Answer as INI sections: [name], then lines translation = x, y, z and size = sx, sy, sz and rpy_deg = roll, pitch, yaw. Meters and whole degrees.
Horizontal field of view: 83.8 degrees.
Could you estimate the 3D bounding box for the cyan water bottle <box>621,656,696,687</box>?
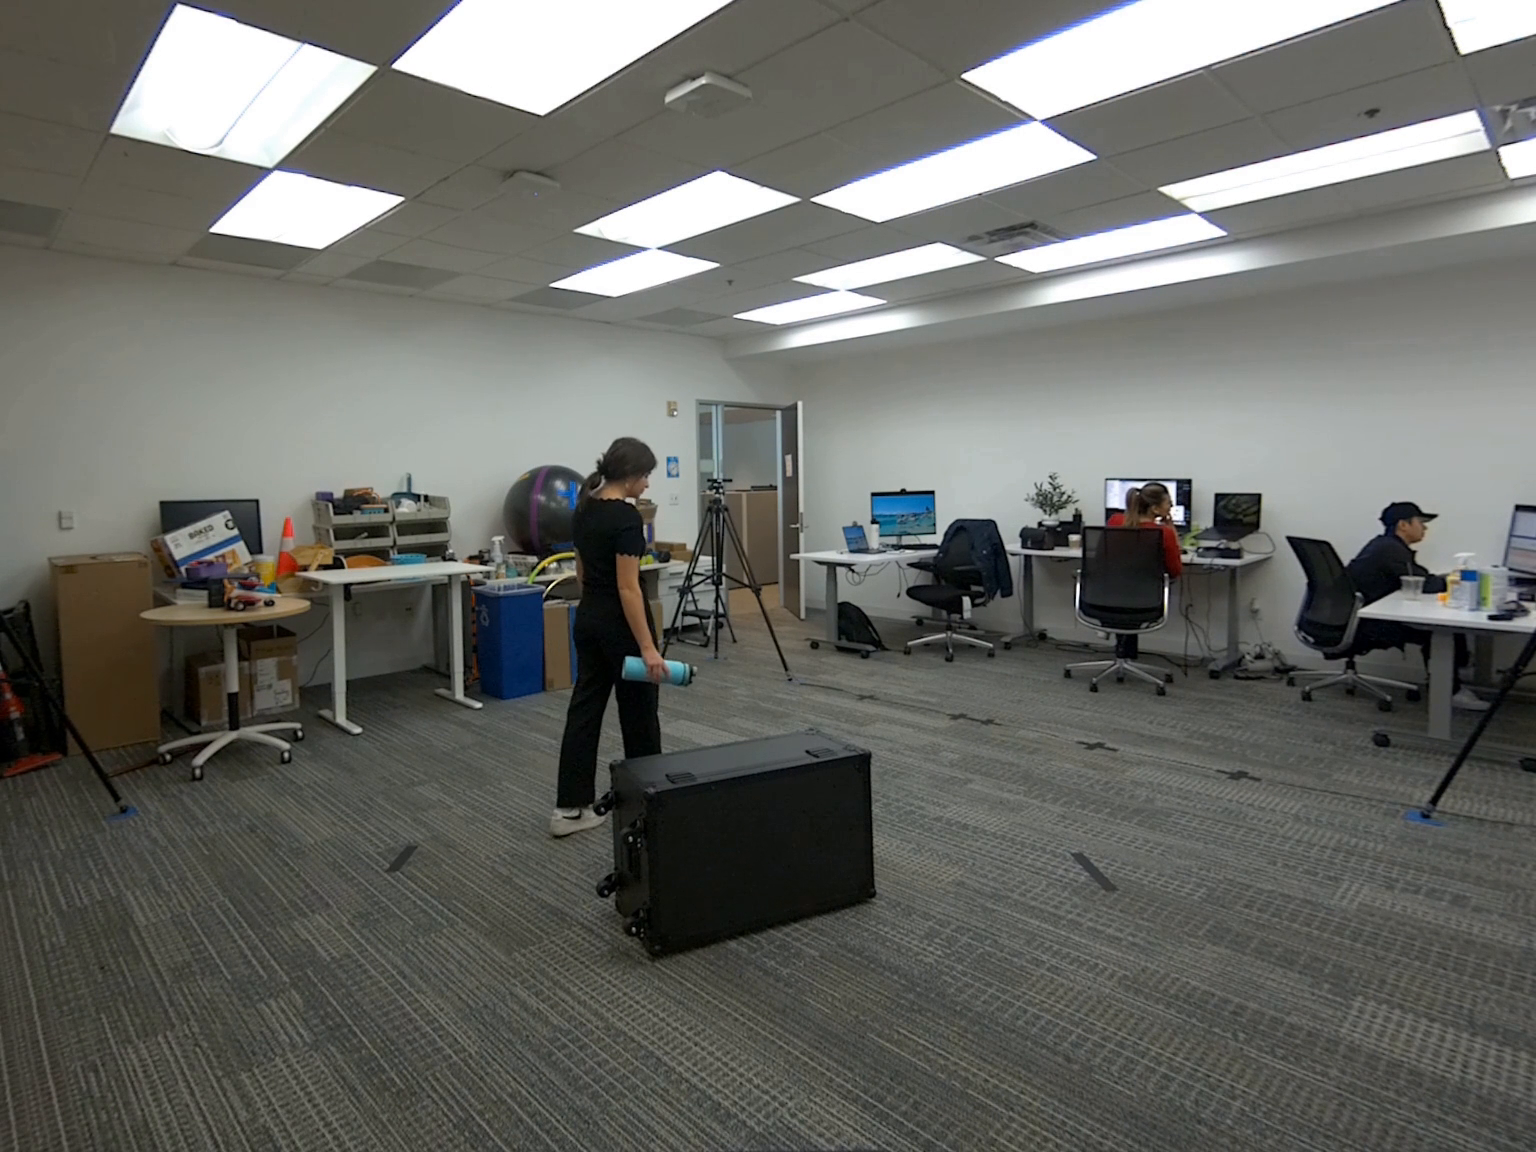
[cyan water bottle]
translation = -0.418, 0.363, 3.326
size = 0.280, 0.092, 0.094
rpy_deg = 9, 2, -12
